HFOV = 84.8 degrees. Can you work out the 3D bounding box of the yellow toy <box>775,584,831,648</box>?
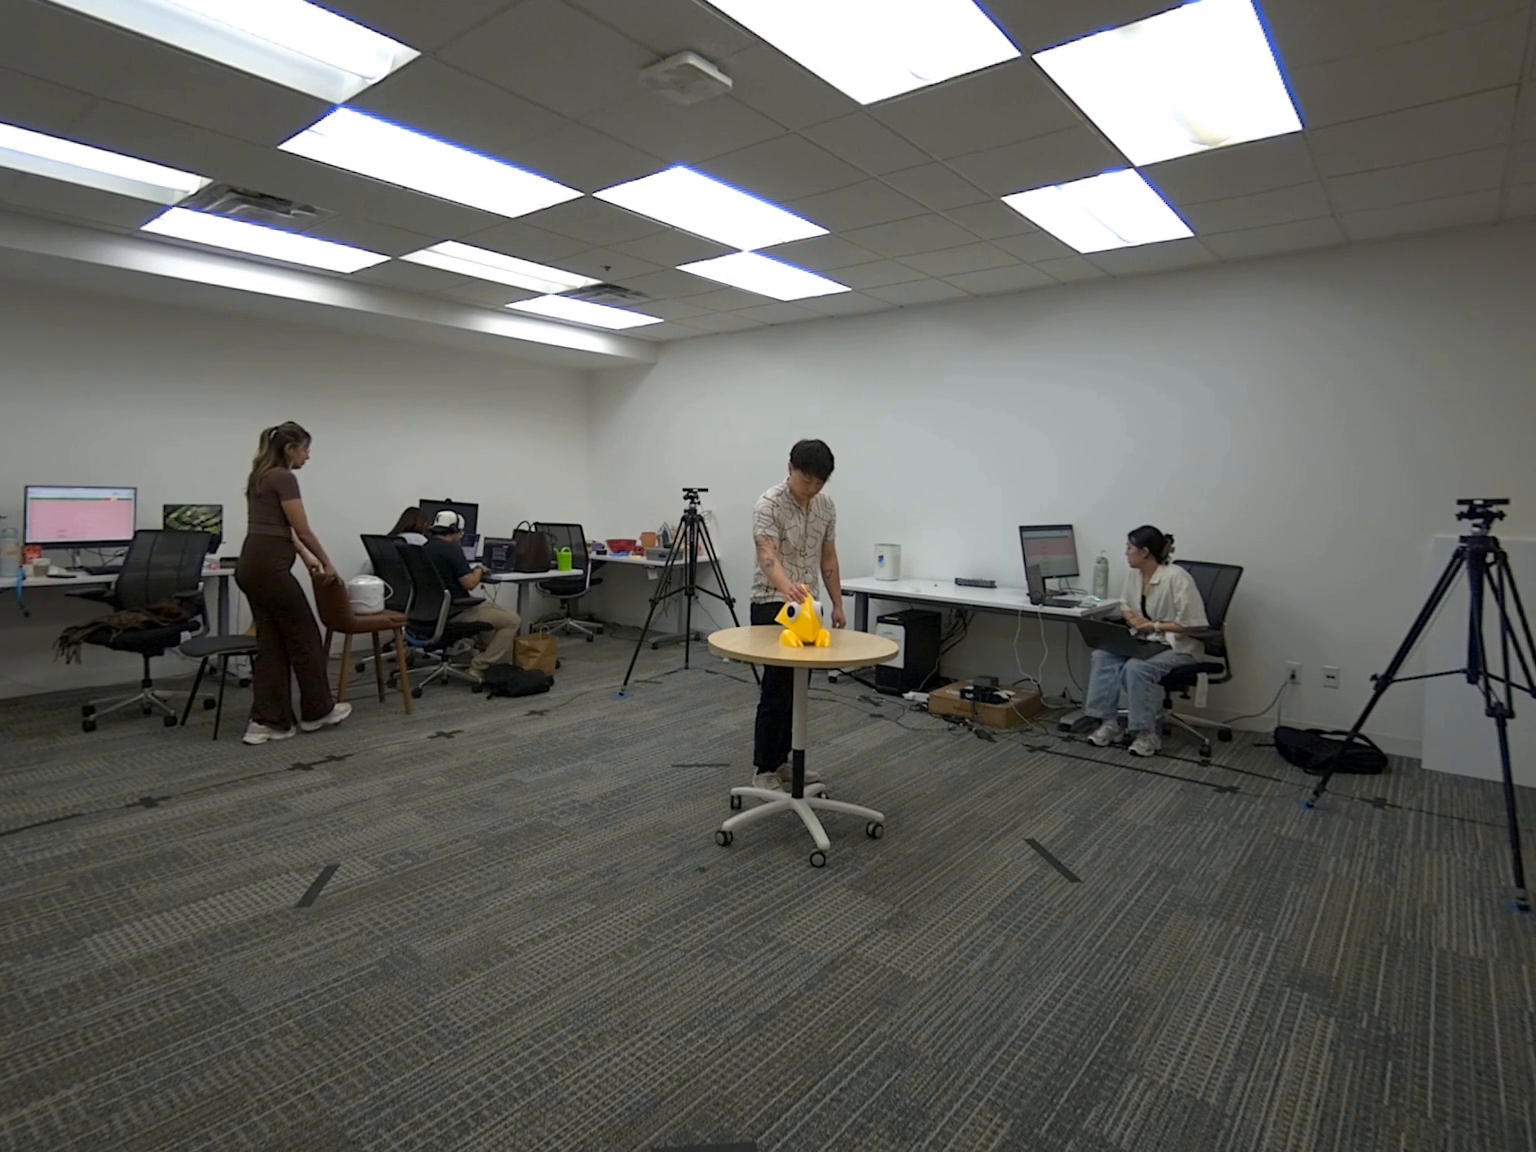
[{"bbox_3d":[0.145,0.152,3.401,0.202,0.230,0.196,1,4,-14],"label":"yellow toy"}]
